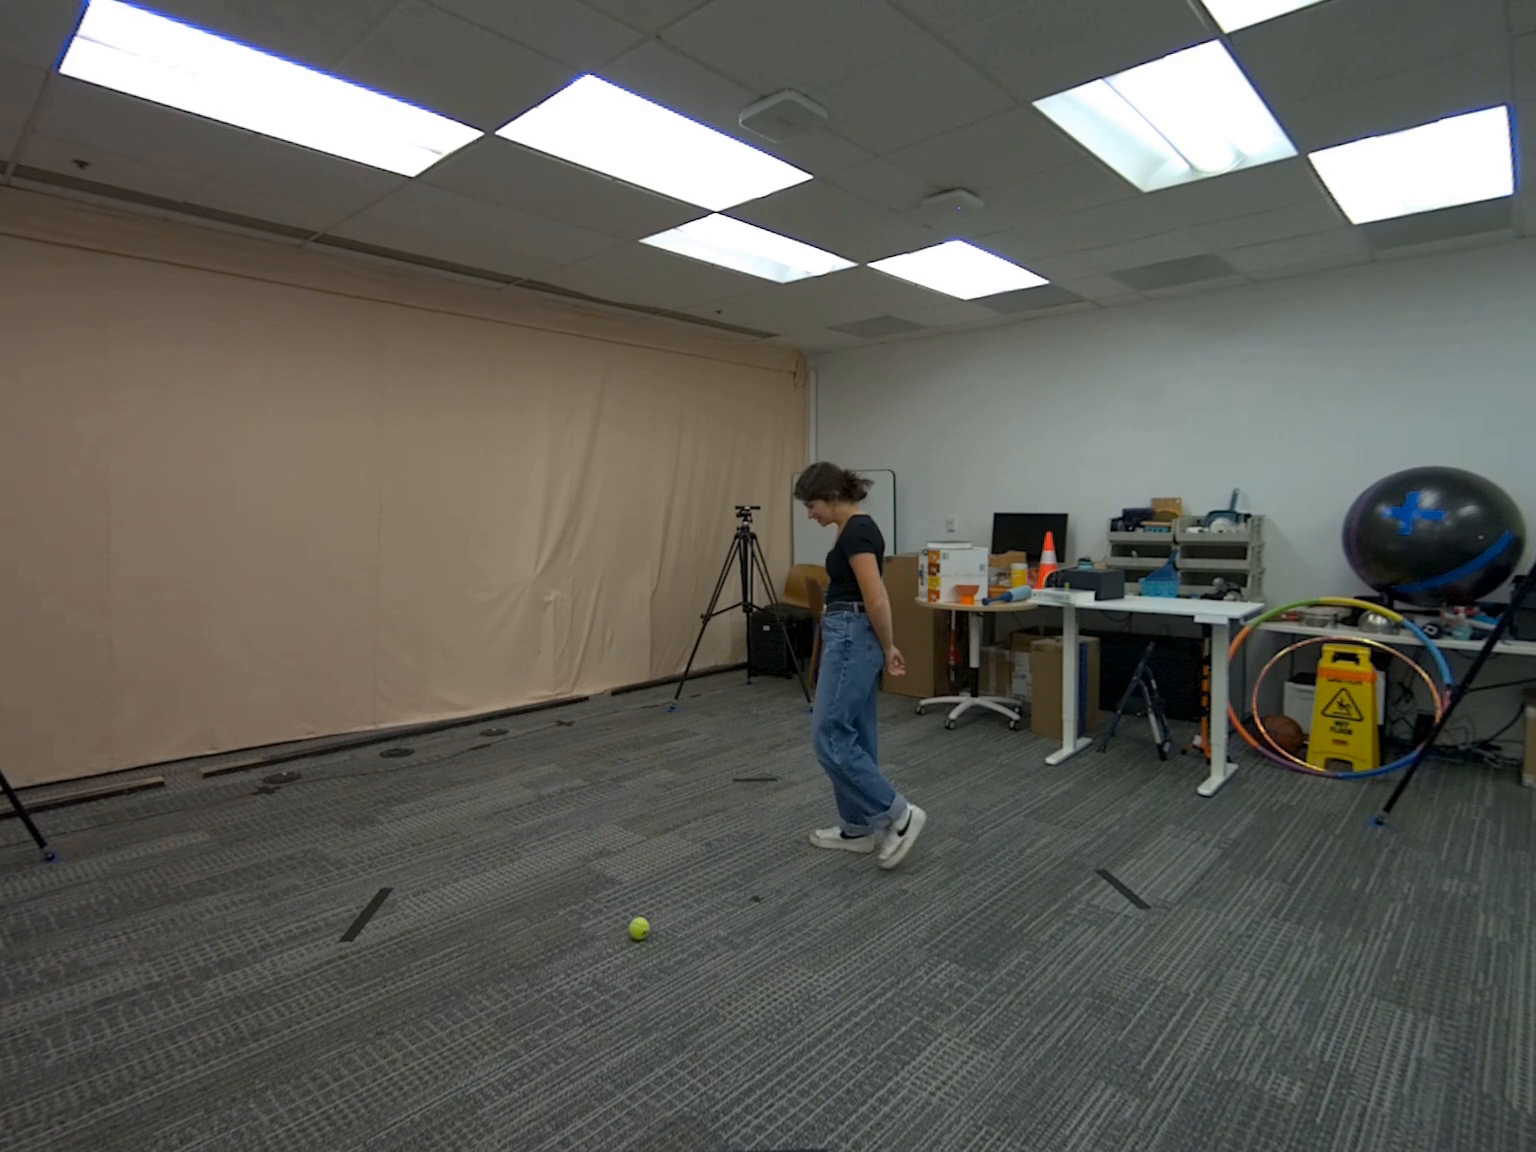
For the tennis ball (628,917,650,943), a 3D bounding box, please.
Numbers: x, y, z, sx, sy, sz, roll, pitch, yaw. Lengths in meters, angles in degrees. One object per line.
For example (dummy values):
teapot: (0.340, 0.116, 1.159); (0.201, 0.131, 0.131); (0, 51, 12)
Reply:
tennis ball: (-0.417, 1.122, 2.700); (0.066, 0.066, 0.067); (0, 4, -2)
